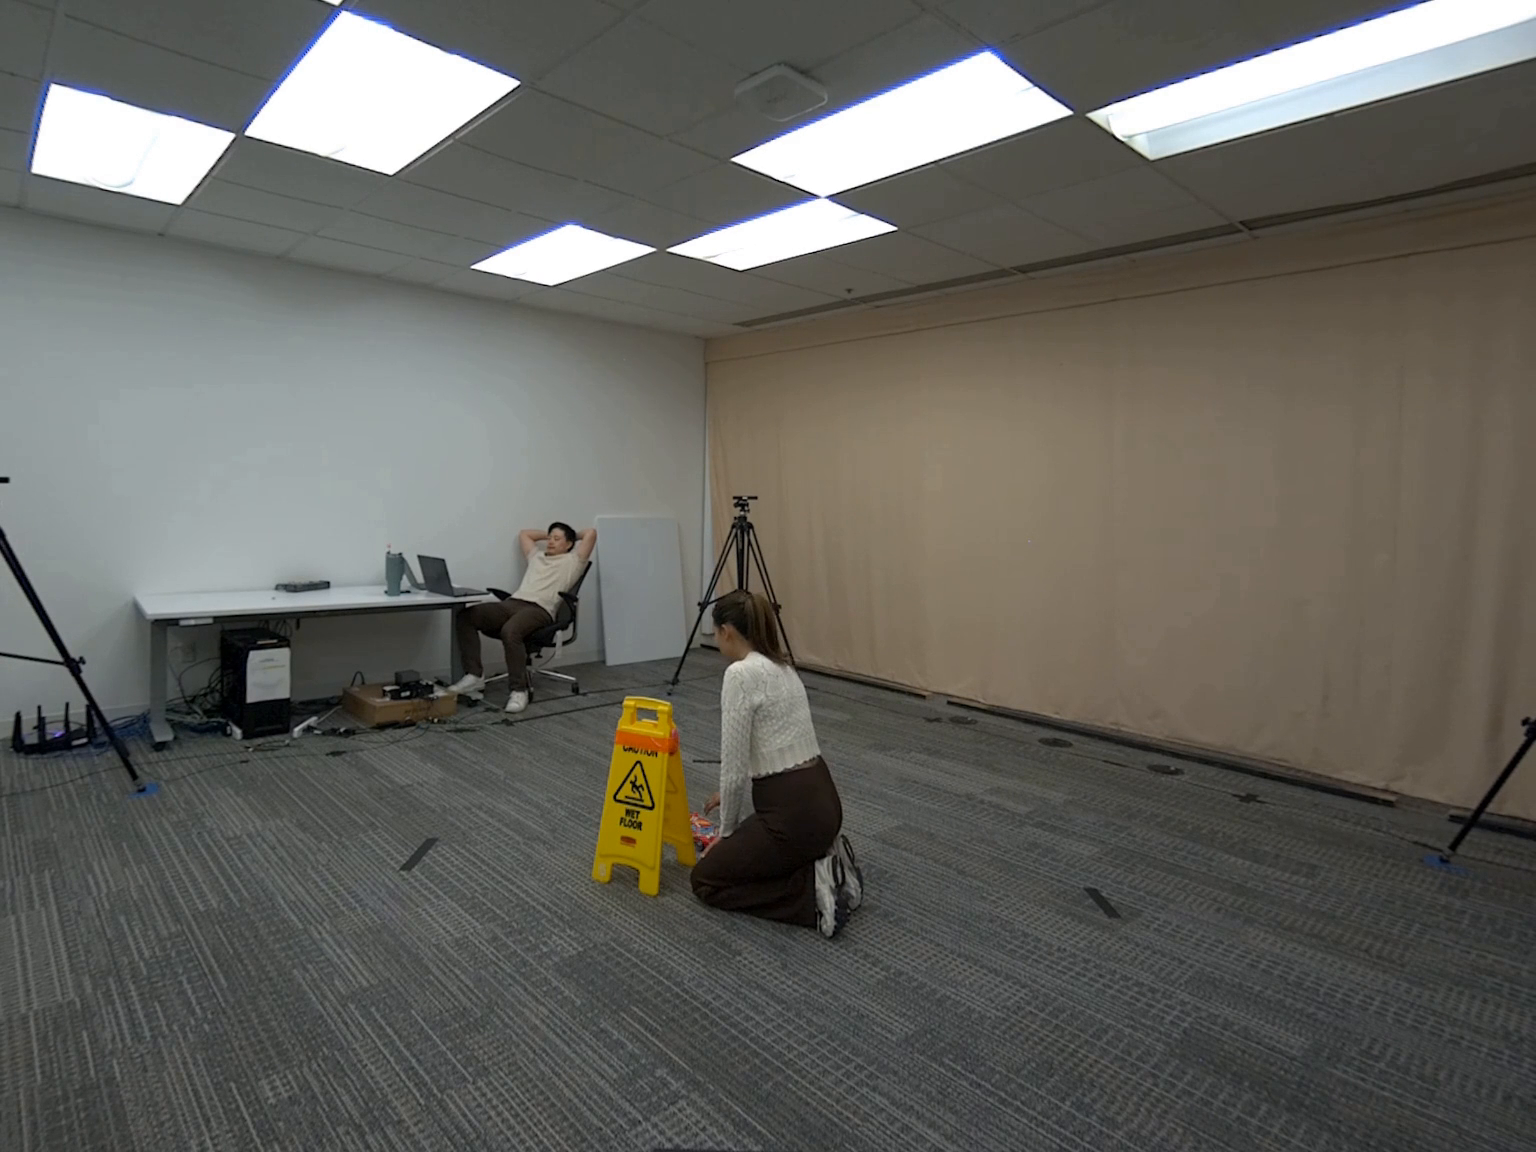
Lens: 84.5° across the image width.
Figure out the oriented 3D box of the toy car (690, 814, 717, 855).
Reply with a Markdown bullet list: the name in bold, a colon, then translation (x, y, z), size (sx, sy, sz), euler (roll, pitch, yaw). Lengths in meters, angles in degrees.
- **toy car**: translation (-0.281, 1.040, 3.426), size (0.128, 0.082, 0.262), euler (-2, 16, -31)
